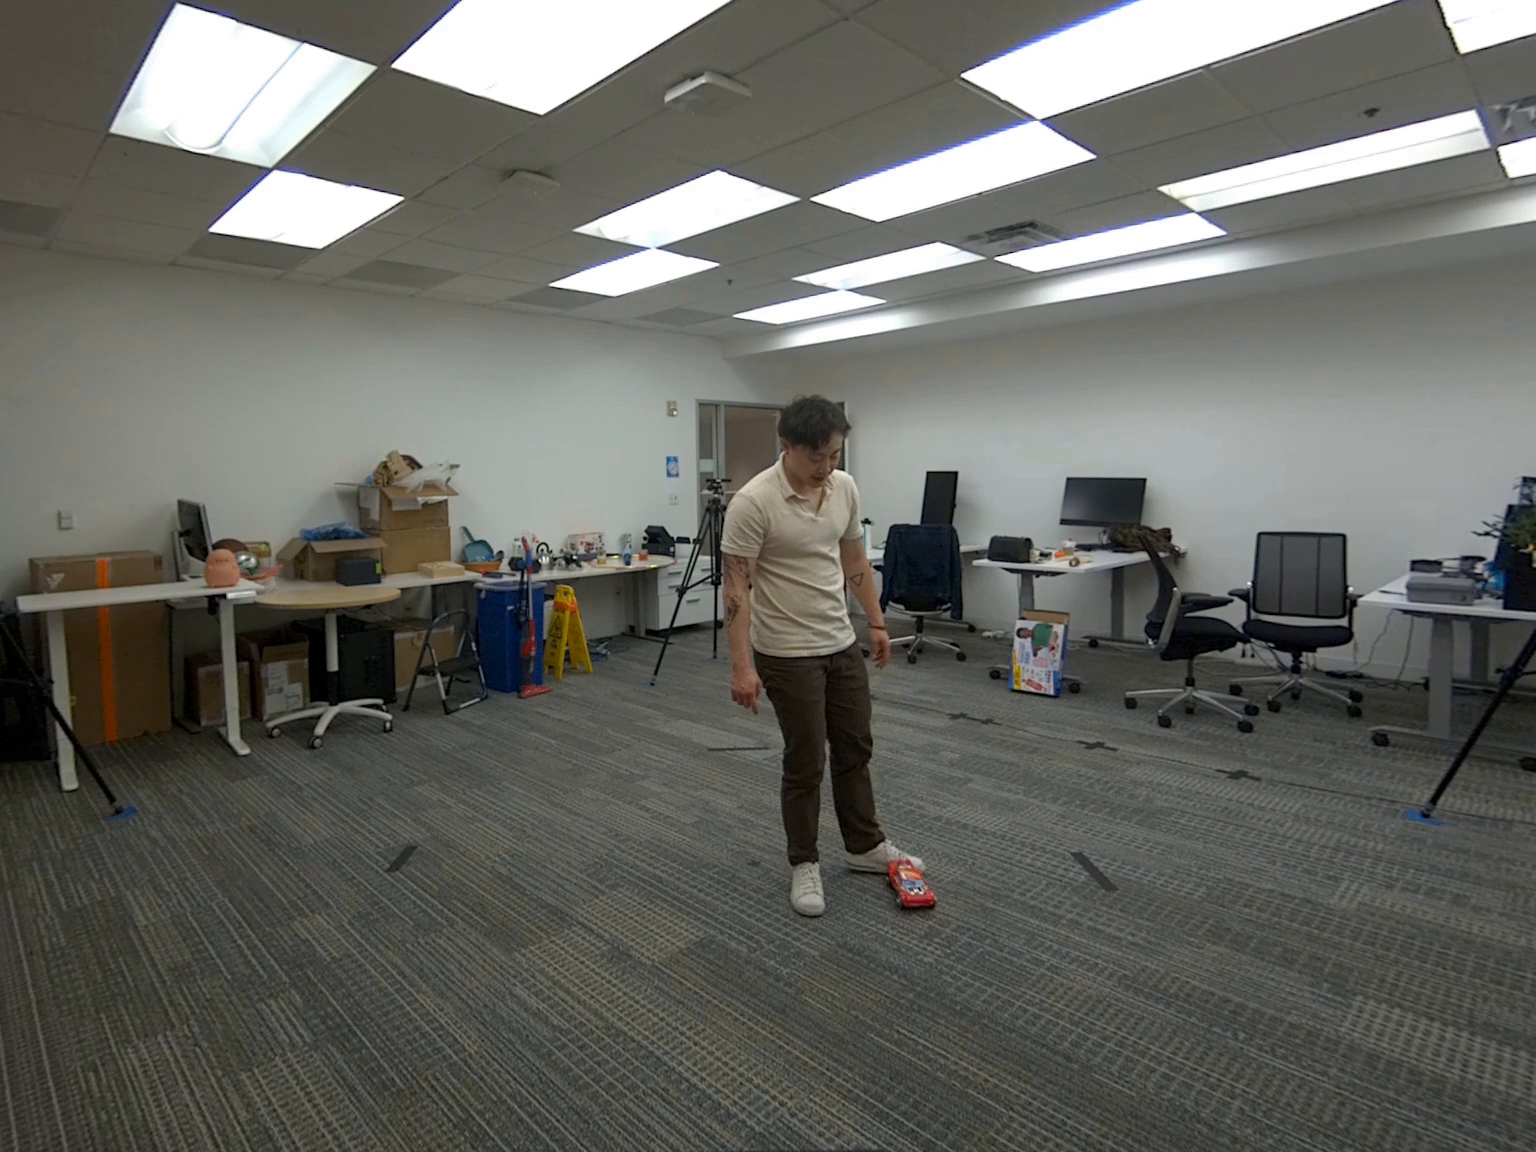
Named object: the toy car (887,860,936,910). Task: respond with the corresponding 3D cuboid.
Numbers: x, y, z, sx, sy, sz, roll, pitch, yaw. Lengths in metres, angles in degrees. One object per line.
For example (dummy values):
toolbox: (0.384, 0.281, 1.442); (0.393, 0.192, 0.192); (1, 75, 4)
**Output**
toy car: (0.471, 1.034, 2.851); (0.130, 0.082, 0.258); (-1, 15, -2)
